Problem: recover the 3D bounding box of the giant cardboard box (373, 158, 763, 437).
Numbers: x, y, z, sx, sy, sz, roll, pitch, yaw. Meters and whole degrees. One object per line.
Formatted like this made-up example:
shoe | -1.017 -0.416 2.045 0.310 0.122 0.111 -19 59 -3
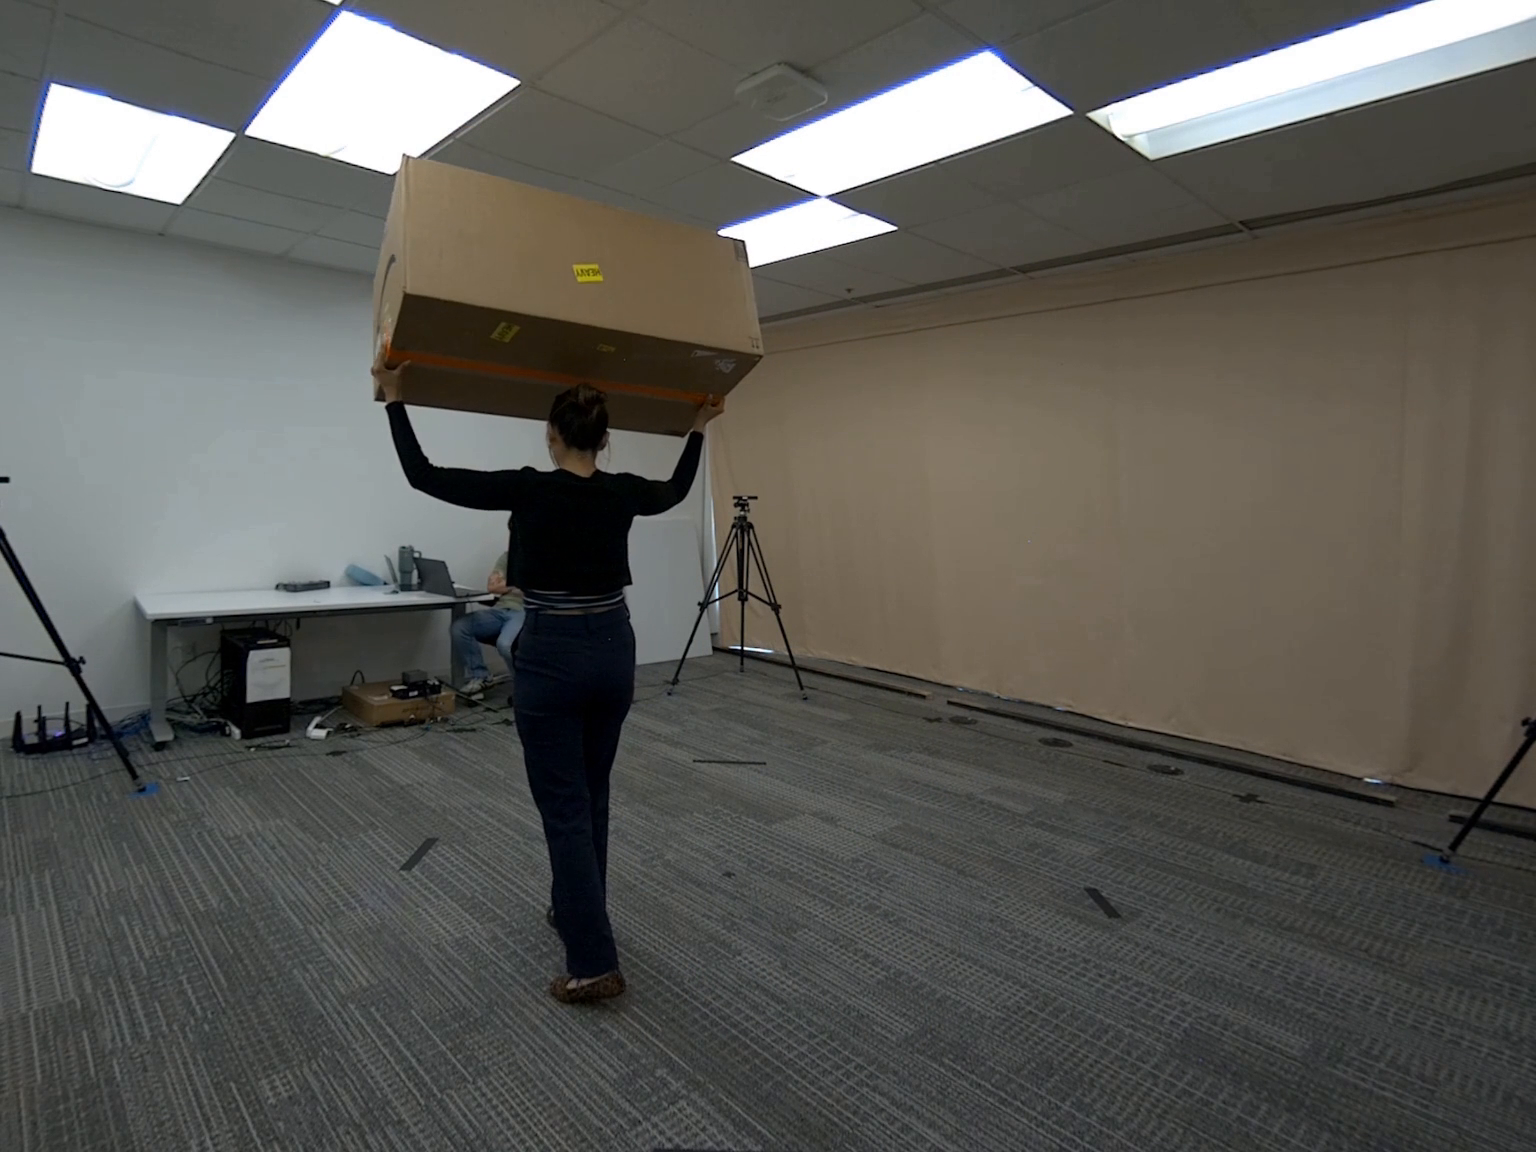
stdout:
giant cardboard box | -0.615 -0.777 2.559 1.004 0.432 0.582 2 -18 -30
